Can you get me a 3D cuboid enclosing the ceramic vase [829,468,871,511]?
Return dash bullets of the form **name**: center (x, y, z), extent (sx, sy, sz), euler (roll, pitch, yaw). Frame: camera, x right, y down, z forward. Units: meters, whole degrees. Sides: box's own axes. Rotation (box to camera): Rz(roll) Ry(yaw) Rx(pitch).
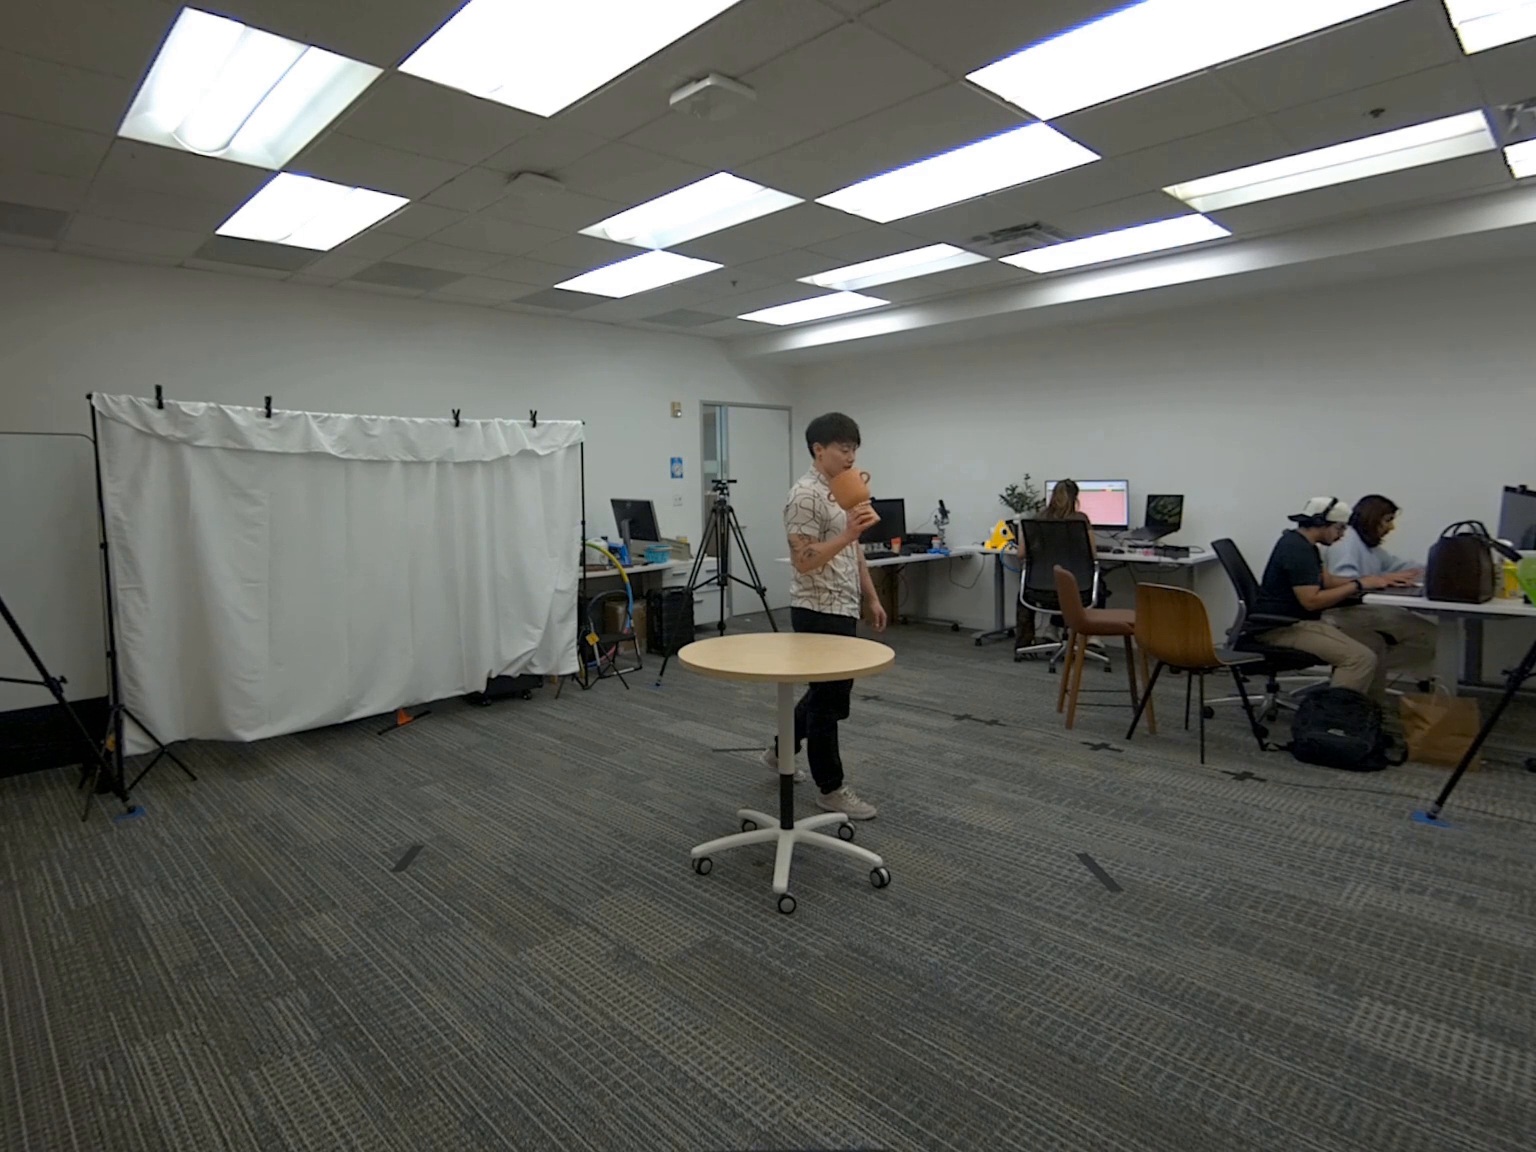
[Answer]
- **ceramic vase**: center (0.341, -0.288, 3.292), extent (0.133, 0.222, 0.158), euler (-24, -9, -20)
